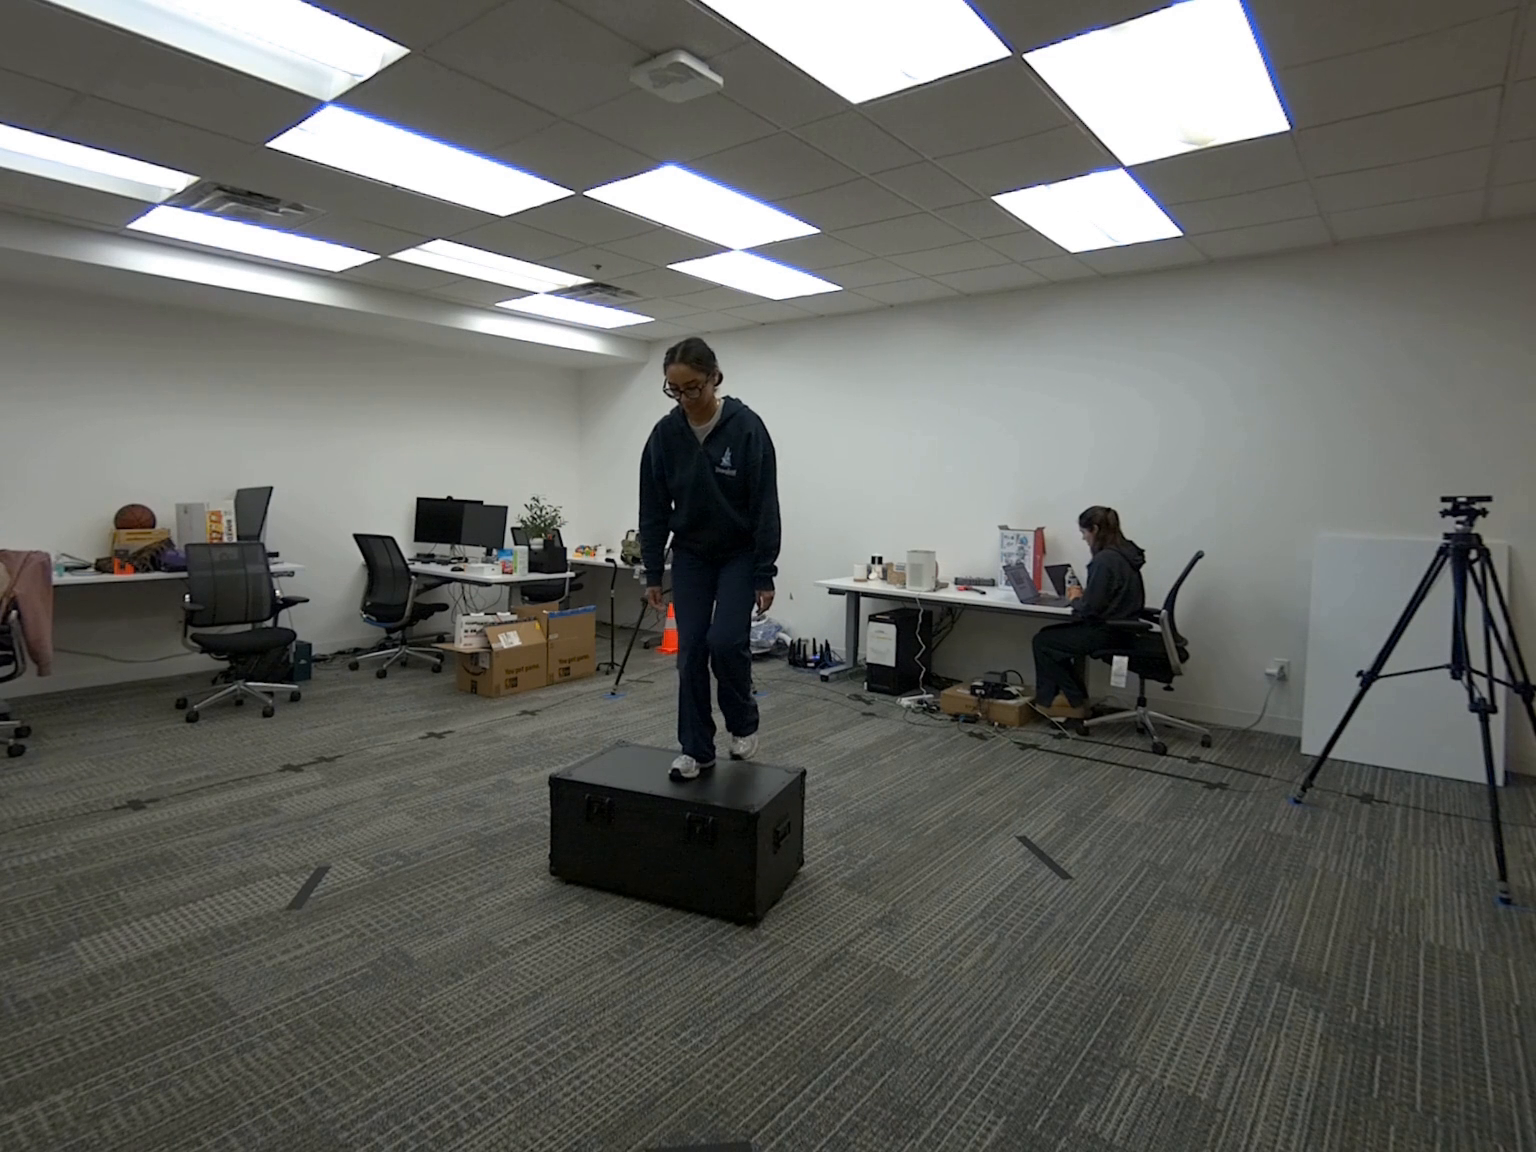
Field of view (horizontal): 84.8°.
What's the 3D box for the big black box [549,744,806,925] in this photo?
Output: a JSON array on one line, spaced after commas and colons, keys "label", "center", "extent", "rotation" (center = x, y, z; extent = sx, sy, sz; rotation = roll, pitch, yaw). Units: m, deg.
[{"label": "big black box", "center": [-0.357, 0.881, 3.053], "extent": [0.882, 0.395, 0.511], "rotation": [4, 5, 23]}]
